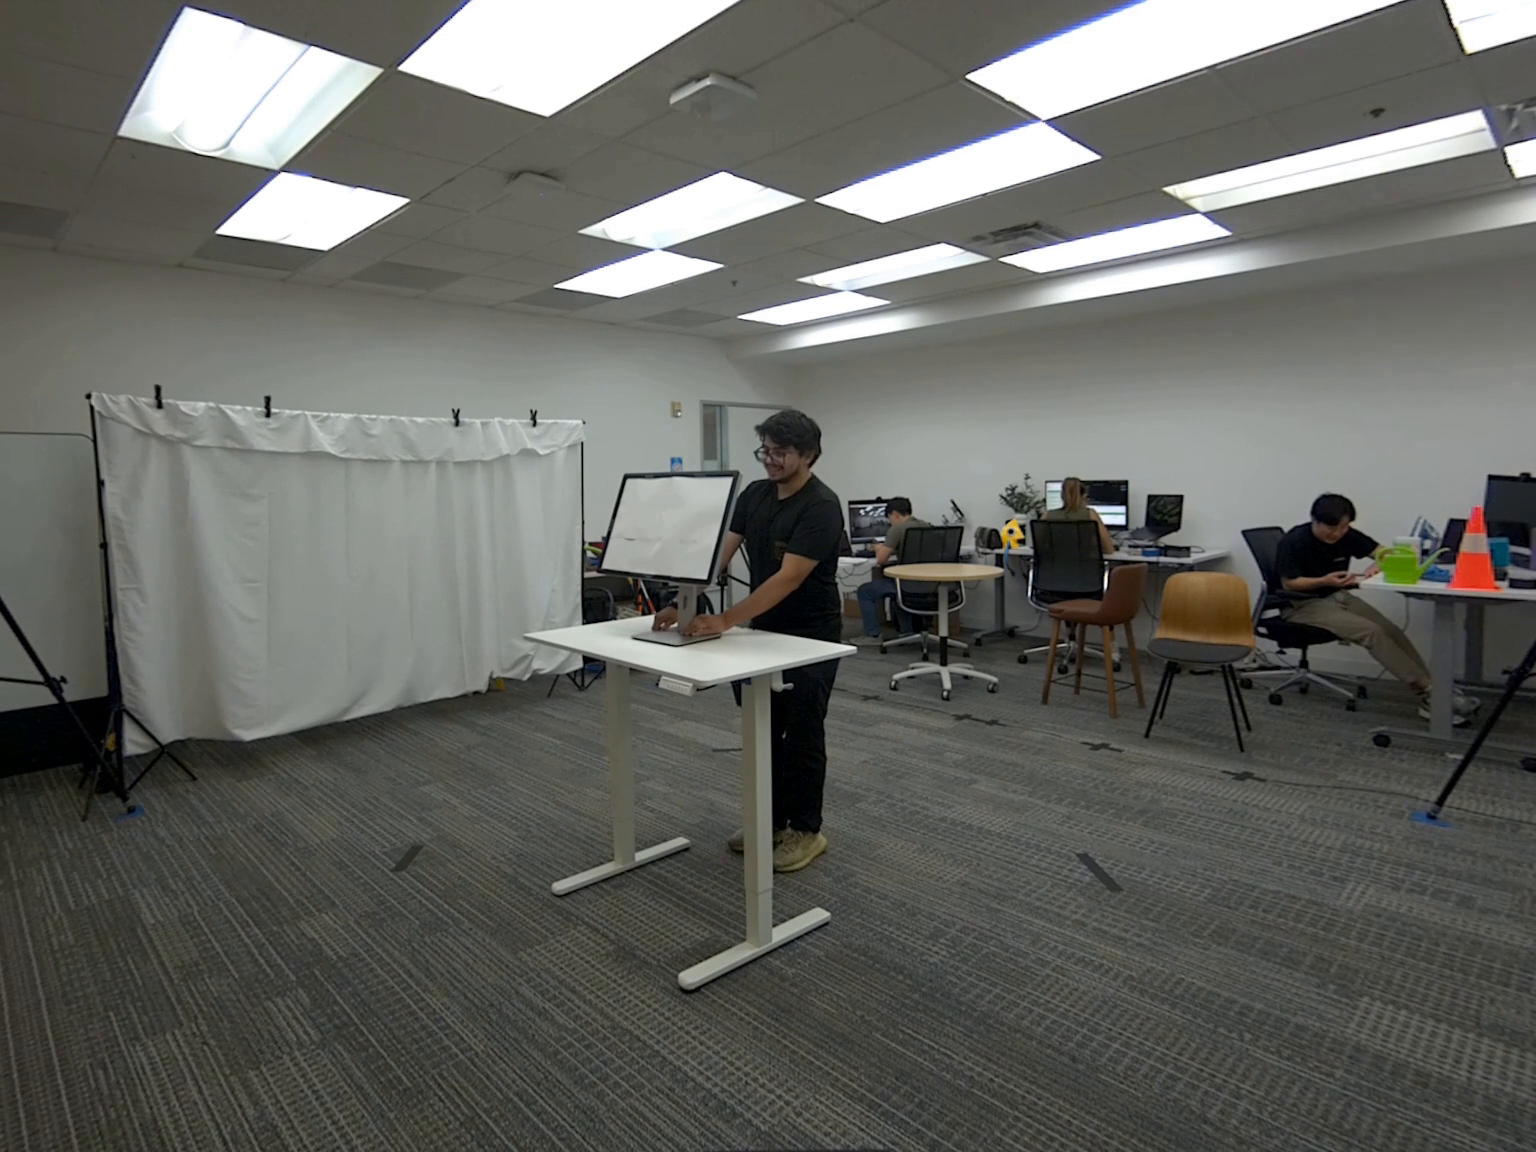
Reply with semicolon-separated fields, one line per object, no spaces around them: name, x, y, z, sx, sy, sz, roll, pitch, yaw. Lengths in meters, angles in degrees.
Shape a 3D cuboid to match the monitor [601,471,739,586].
monitor;-0.290;-0.065;2.798;0.583;0.556;0.203;4;-6;43
